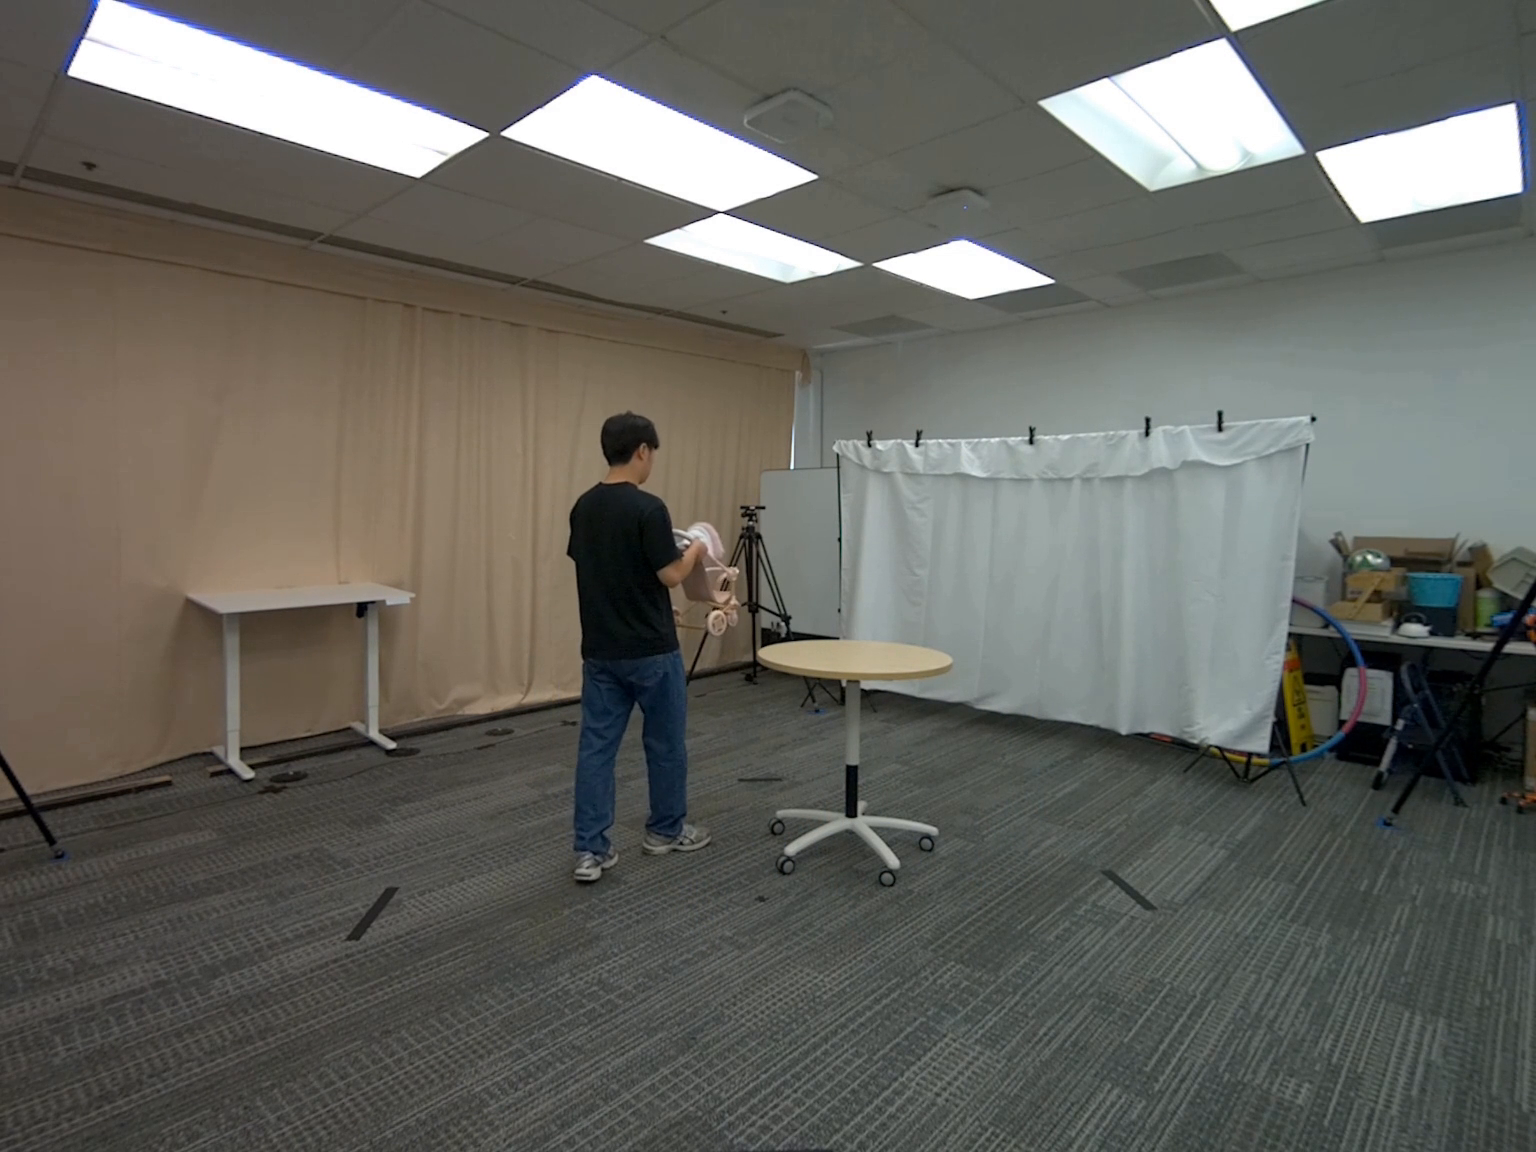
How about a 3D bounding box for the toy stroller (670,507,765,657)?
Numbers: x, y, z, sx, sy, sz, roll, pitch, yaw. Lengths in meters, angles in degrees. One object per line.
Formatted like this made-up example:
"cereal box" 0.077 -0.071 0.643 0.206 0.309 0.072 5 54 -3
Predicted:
"toy stroller" -0.276 0.010 3.598 0.291 0.529 0.334 3 19 42
